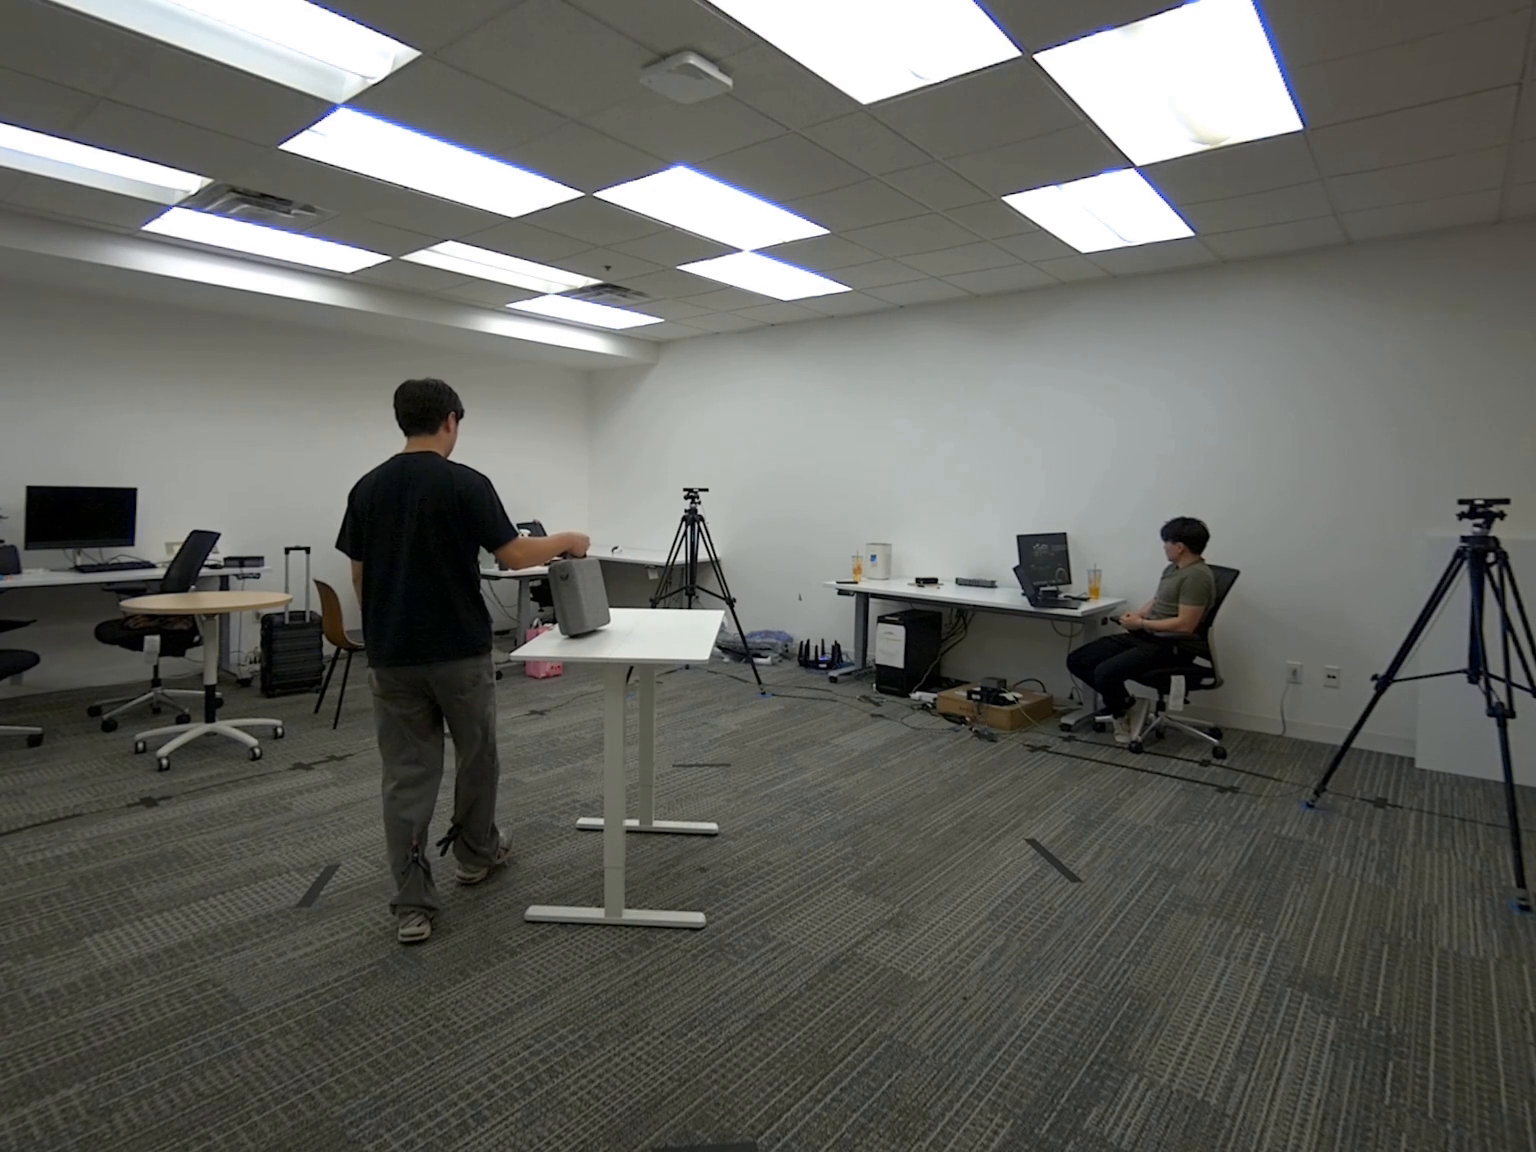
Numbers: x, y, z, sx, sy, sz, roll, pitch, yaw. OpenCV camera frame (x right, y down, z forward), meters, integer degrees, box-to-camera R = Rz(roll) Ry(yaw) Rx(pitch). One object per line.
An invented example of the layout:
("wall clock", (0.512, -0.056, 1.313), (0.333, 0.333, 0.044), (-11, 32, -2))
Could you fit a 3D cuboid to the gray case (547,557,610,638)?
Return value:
("gray case", (-0.659, 0.054, 2.948), (0.104, 0.287, 0.260), (-9, 1, 10))
